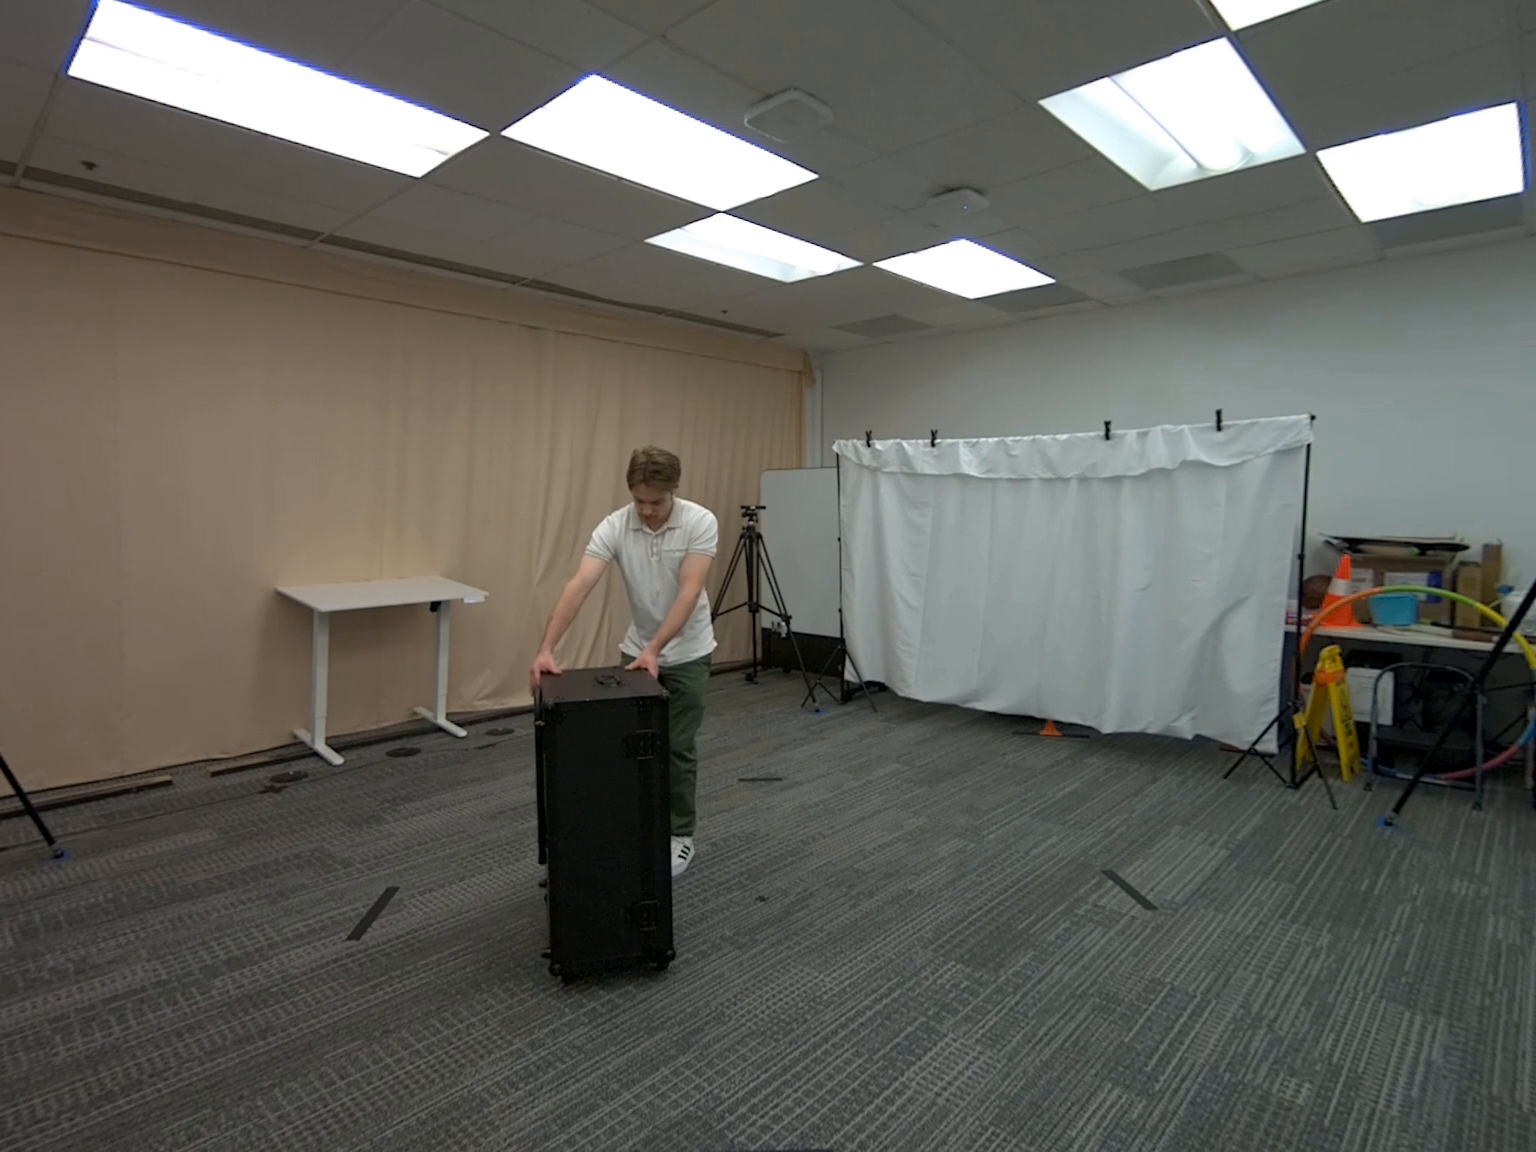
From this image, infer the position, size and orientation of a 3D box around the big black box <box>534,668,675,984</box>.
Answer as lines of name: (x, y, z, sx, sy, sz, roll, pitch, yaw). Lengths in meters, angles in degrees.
big black box: (-0.511, 0.754, 2.620, 0.379, 0.867, 0.533, -2, 3, -17)
